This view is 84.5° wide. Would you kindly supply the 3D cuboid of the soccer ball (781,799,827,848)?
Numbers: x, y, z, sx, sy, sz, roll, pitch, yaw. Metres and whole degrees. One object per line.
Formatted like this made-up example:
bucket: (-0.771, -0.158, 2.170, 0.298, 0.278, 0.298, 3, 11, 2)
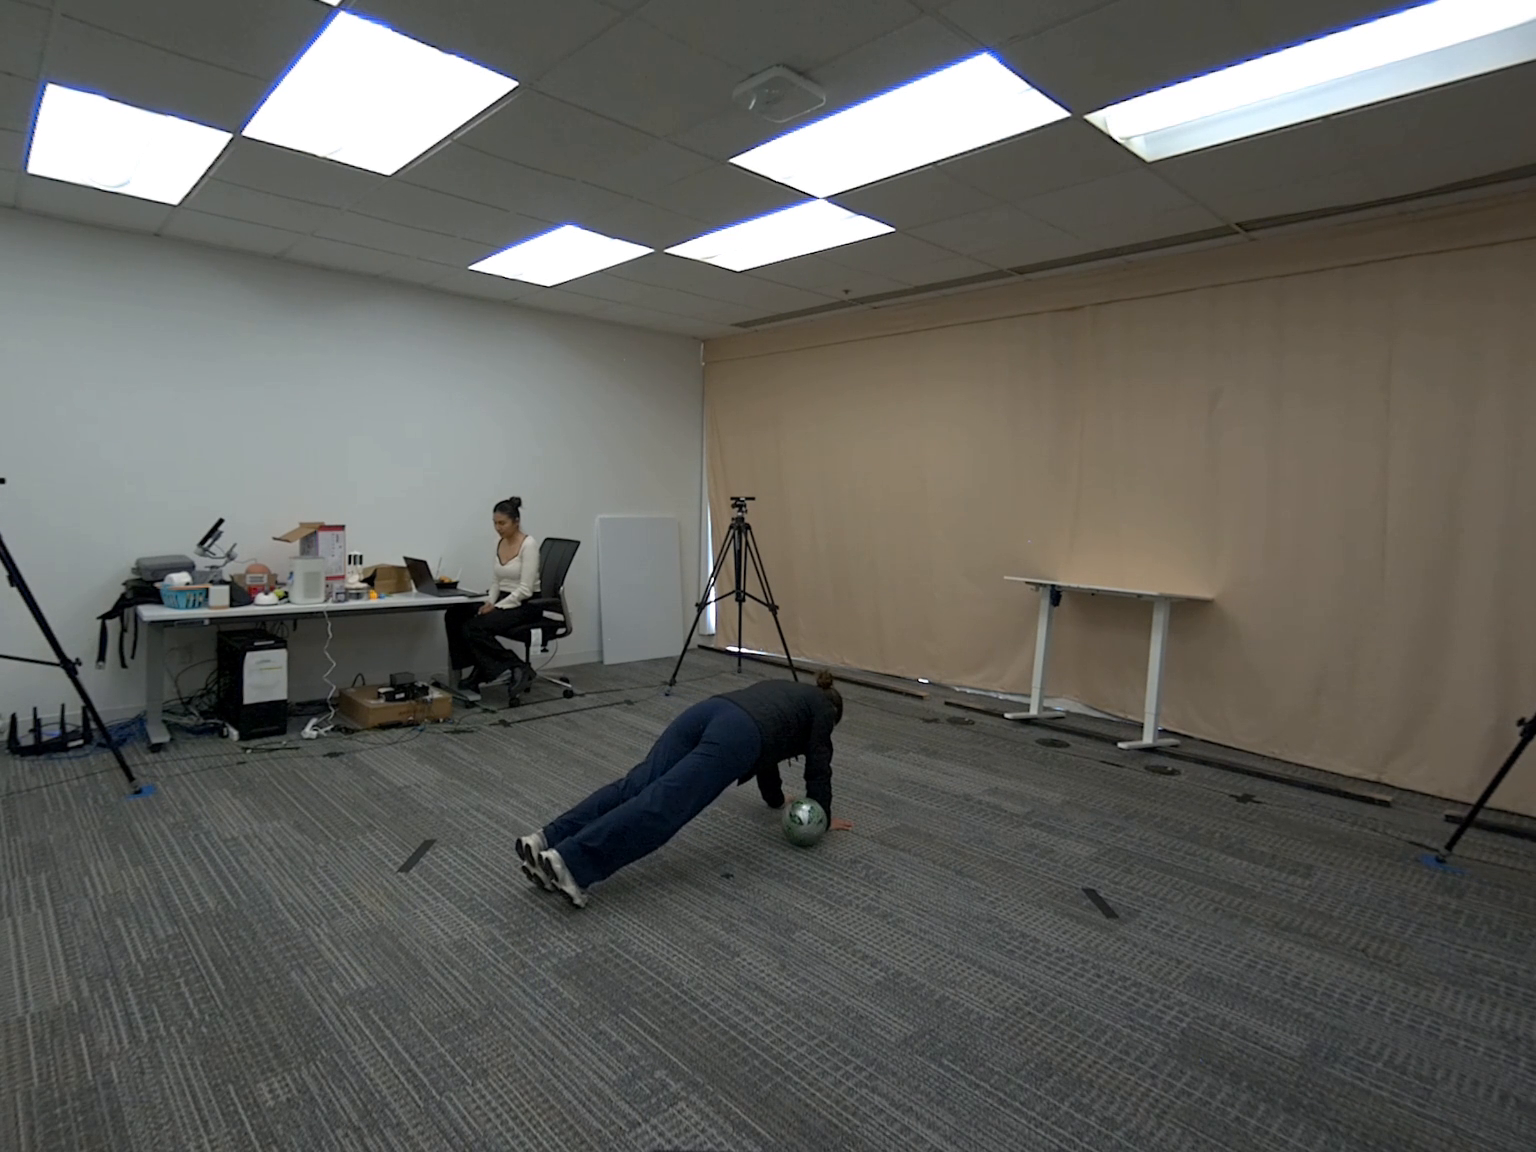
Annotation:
soccer ball: (0.130, 0.992, 3.400, 0.187, 0.187, 0.188, 1, 4, -1)
